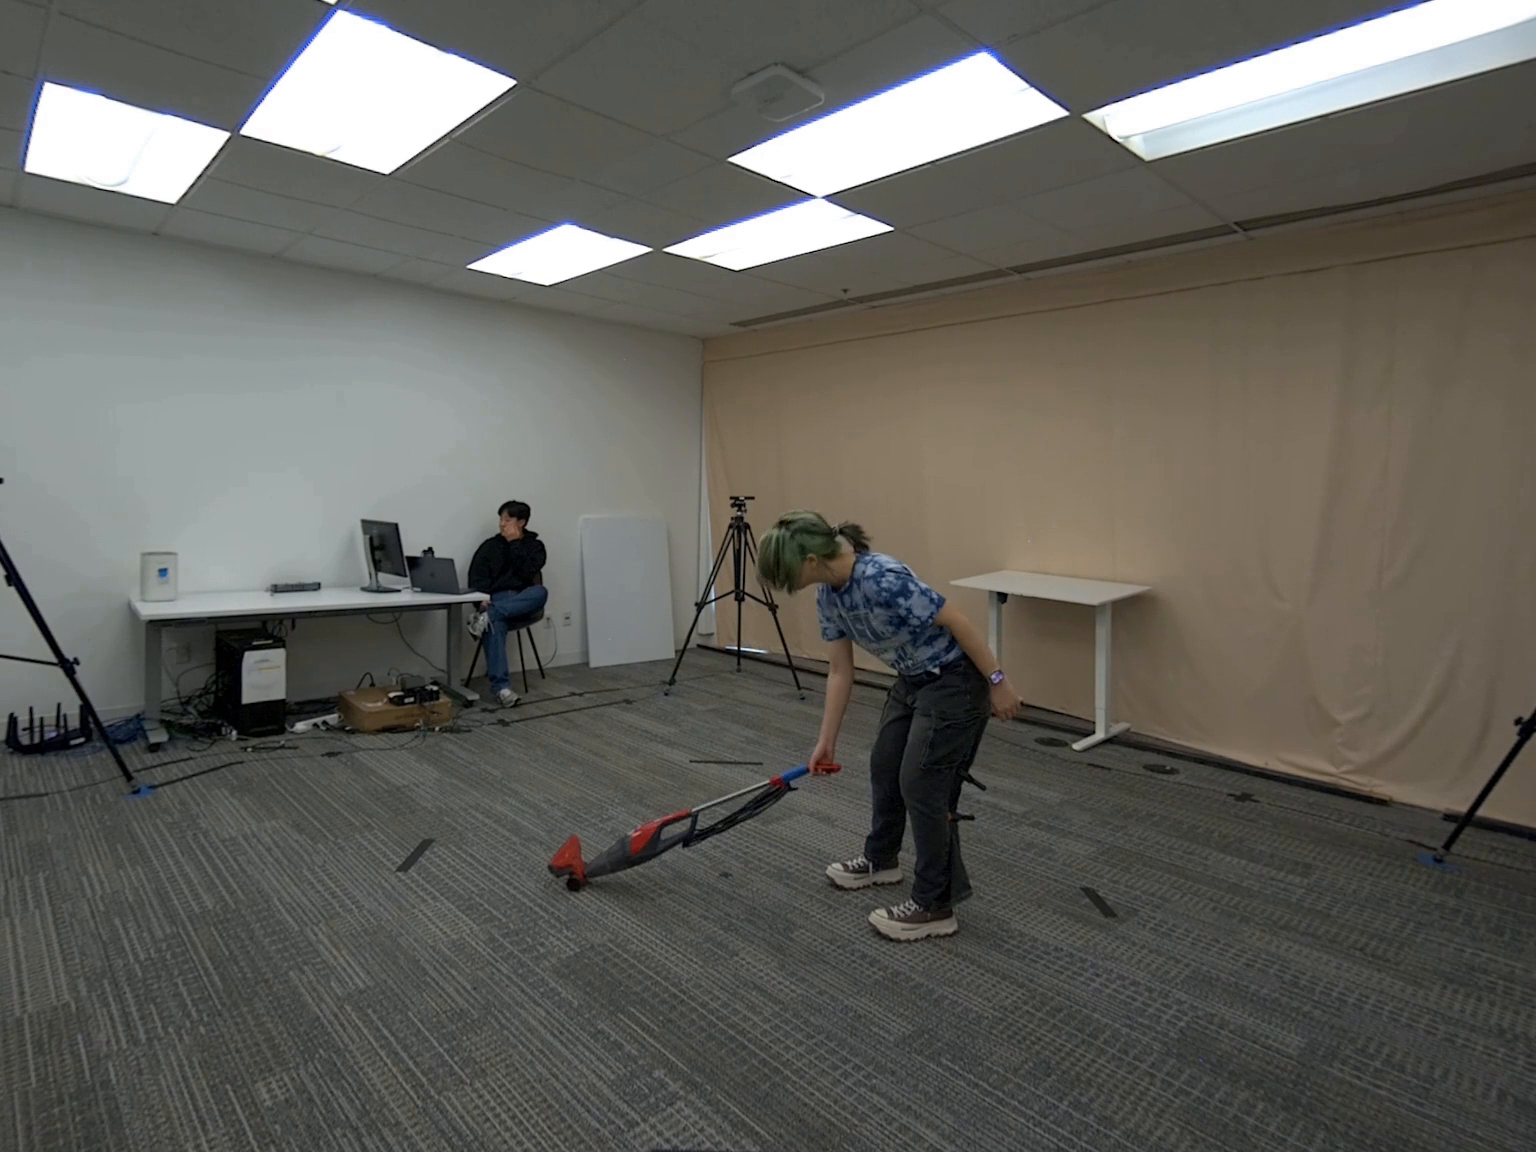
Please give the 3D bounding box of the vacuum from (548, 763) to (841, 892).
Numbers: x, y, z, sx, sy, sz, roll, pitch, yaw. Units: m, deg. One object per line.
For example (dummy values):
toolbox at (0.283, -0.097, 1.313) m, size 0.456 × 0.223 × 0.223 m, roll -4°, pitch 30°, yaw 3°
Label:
vacuum at (-0.232, 0.859, 2.916) m, size 1.054 × 0.144 × 0.252 m, roll -21°, pitch 2°, yaw 9°
